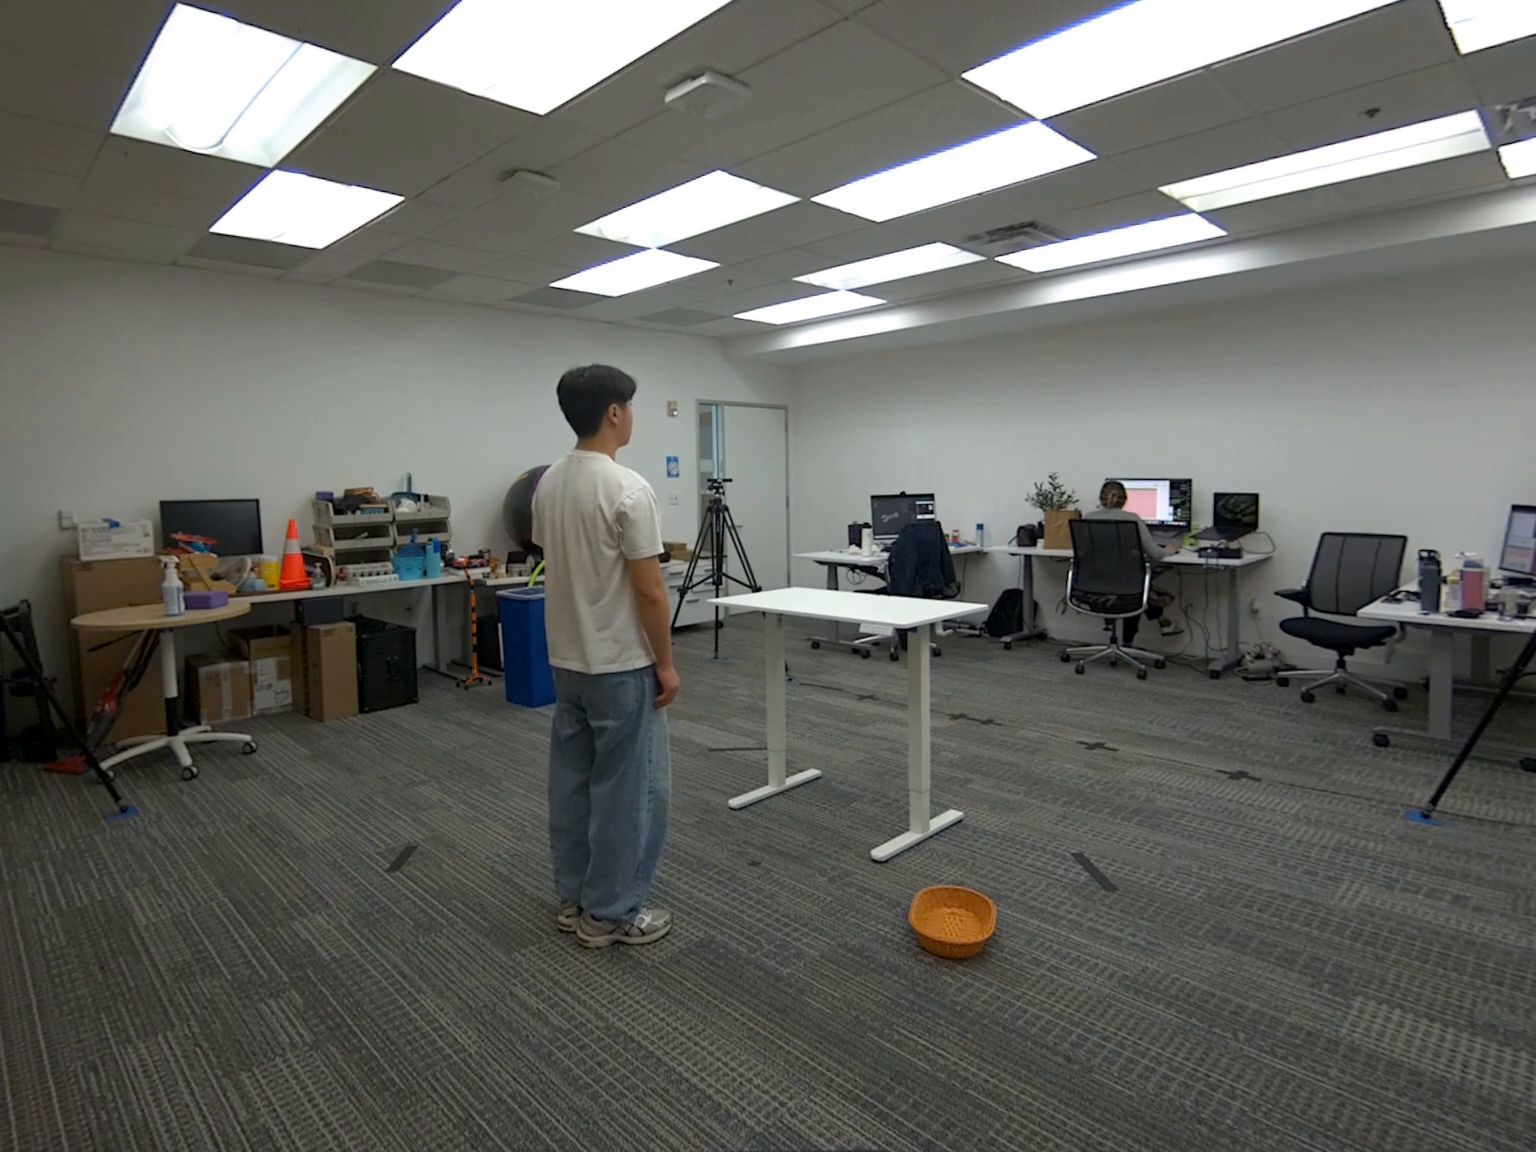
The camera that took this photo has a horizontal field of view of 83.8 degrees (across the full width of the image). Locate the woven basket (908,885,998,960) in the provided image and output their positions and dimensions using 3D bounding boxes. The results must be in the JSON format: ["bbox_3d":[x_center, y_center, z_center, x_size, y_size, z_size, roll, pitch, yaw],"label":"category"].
[{"bbox_3d":[0.557,1.043,2.606,0.257,0.073,0.345,2,7,21],"label":"woven basket"}]
